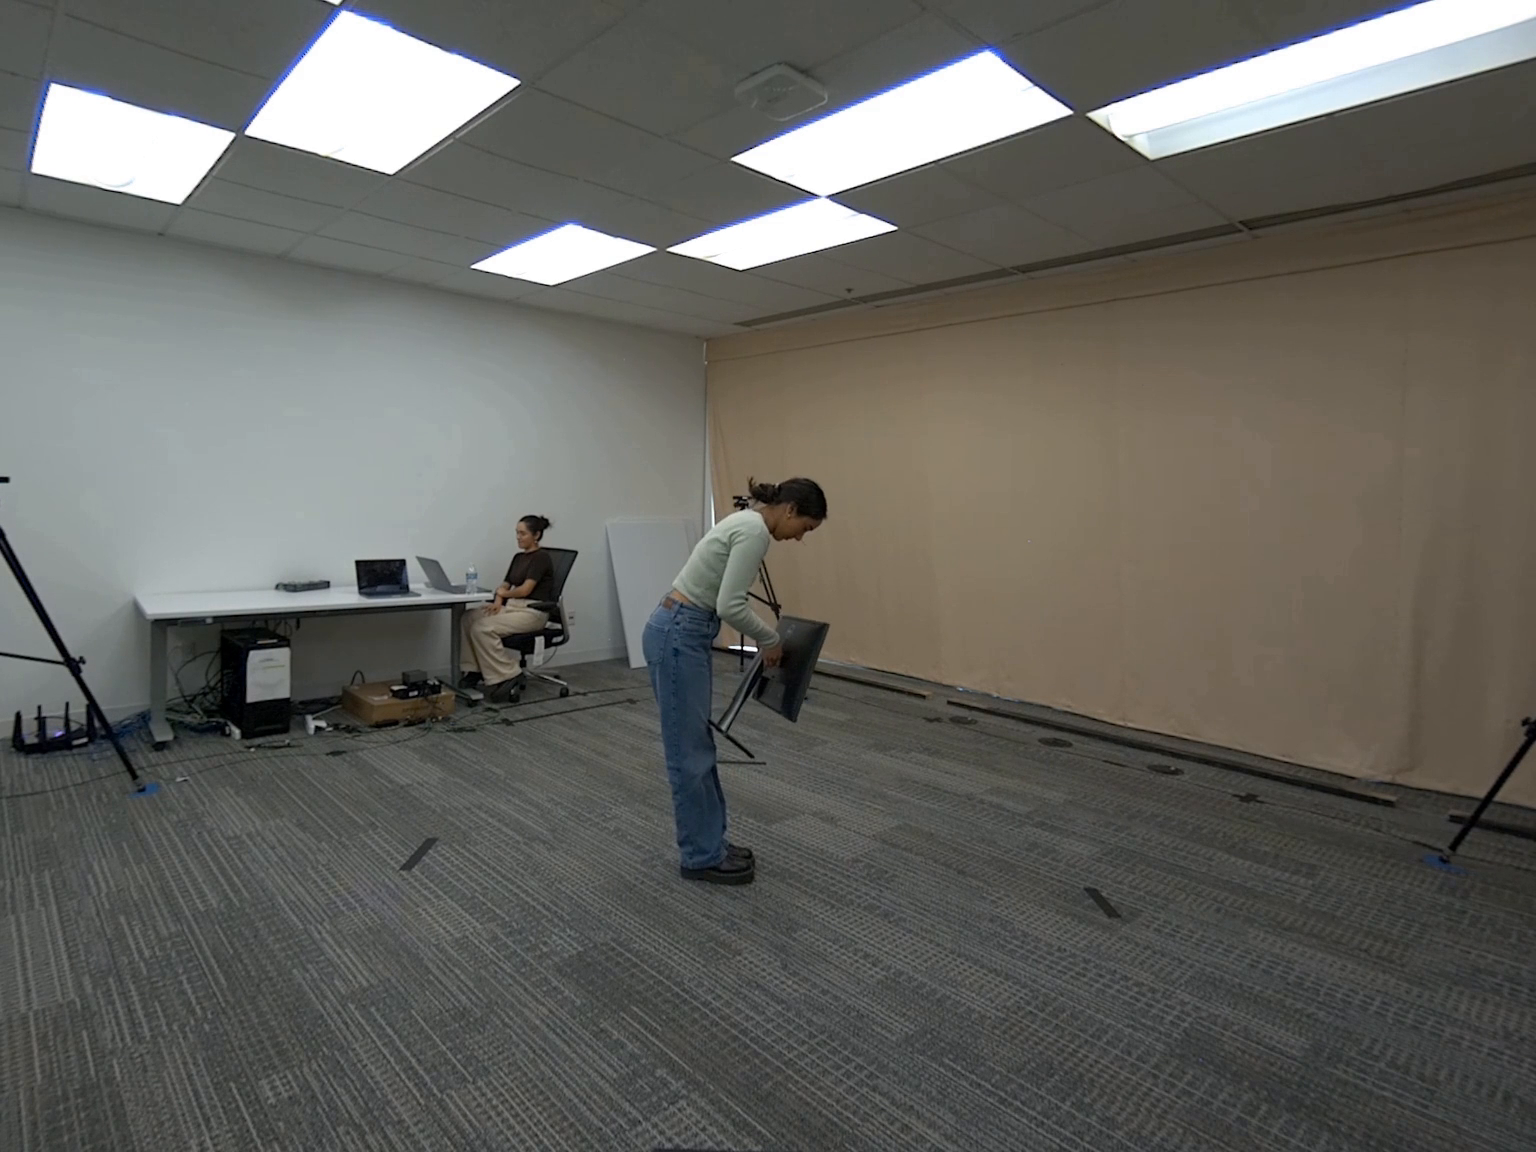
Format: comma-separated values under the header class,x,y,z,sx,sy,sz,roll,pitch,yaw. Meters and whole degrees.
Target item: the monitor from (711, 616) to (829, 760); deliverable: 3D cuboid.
class,x,y,z,sx,sy,sz,roll,pitch,yaw
monitor,-0.012,0.381,3.070,0.172,0.516,0.536,39,-9,-13
